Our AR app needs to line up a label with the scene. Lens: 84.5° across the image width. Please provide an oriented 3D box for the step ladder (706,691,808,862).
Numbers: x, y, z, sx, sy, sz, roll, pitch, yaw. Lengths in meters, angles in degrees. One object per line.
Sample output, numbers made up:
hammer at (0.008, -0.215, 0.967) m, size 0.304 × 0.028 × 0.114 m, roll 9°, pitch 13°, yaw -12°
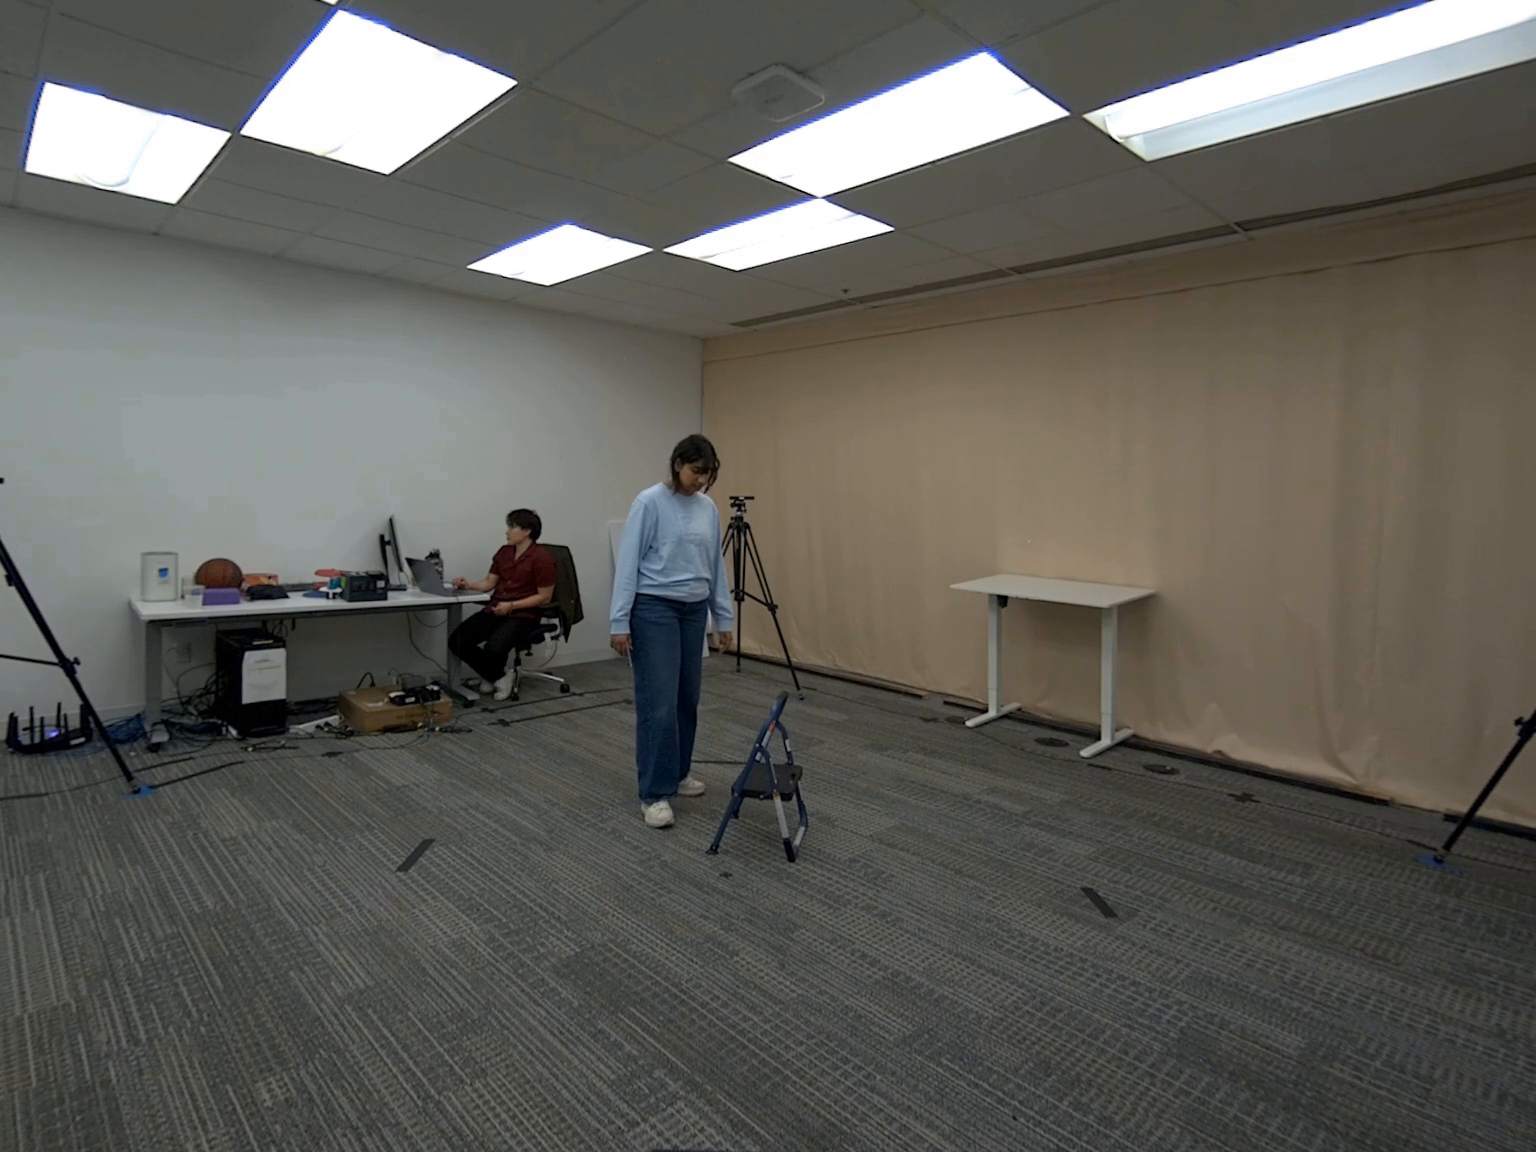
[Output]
step ladder at (-0.028, 0.778, 3.440) m, size 0.352 × 0.605 × 0.427 m, roll 2°, pitch 3°, yaw 11°
